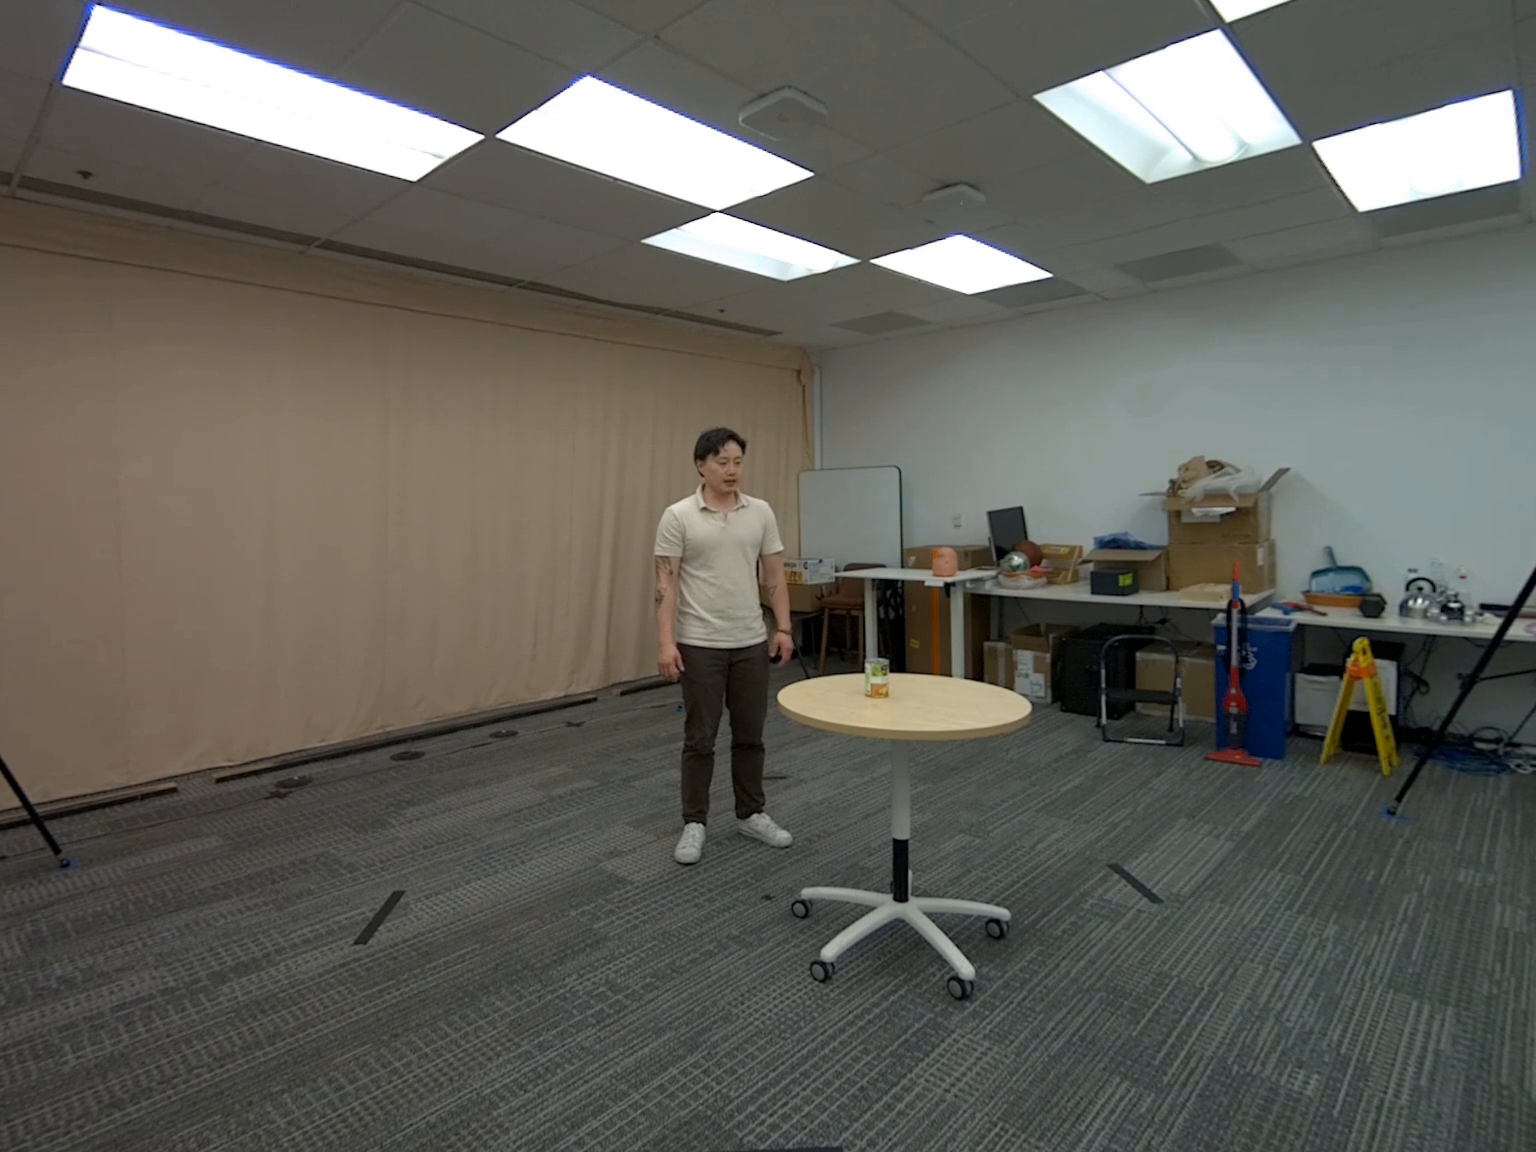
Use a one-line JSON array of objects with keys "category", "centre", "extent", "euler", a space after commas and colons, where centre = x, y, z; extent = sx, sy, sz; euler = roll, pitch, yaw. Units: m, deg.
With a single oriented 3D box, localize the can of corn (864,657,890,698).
[{"category": "can of corn", "centre": [0.351, 0.323, 2.644], "extent": [0.074, 0.111, 0.074], "euler": [0, 4, -2]}]
